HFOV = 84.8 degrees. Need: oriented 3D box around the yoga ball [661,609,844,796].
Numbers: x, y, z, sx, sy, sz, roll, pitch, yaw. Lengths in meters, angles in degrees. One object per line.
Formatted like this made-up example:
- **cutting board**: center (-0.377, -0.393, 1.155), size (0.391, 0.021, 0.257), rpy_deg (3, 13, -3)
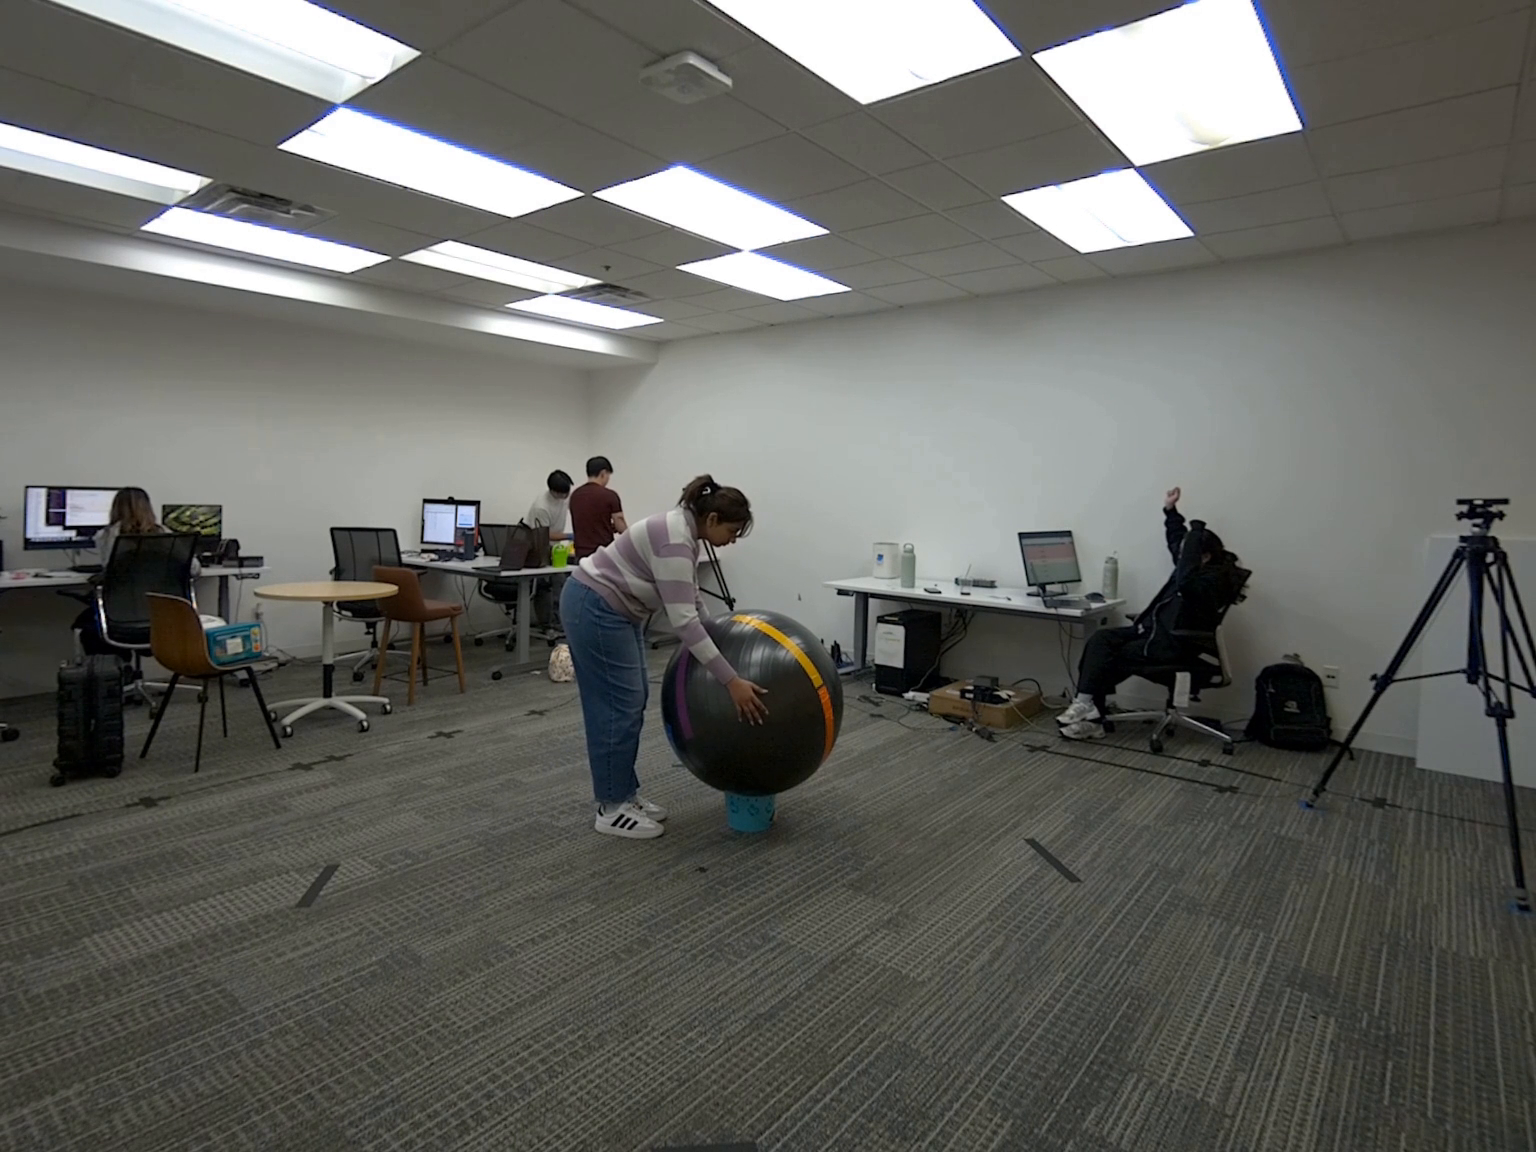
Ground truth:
- **yoga ball**: center (-0.077, 0.519, 3.528), size (0.757, 0.756, 0.761), rpy_deg (1, 4, -2)
